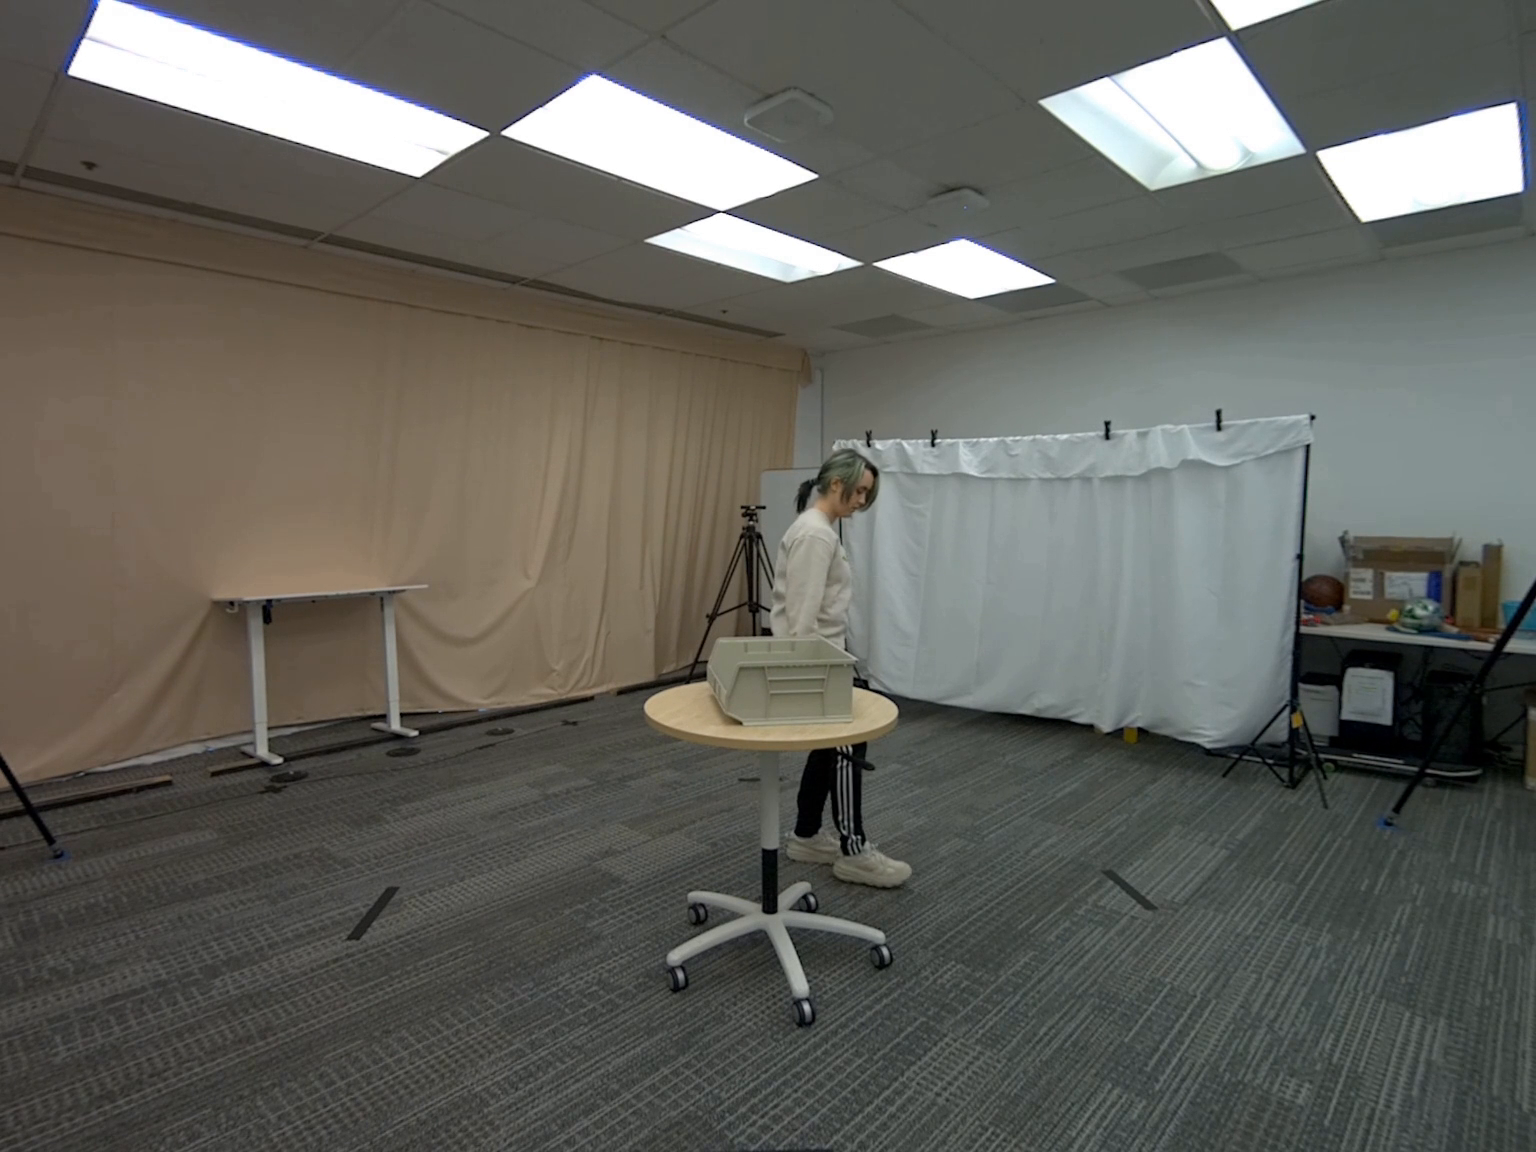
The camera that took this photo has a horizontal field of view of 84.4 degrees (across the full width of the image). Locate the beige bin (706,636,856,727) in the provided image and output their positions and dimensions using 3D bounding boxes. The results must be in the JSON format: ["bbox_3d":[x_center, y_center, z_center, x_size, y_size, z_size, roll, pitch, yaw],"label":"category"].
[{"bbox_3d":[0.023,0.308,2.537,0.374,0.188,0.427,0,4,-9],"label":"beige bin"}]
